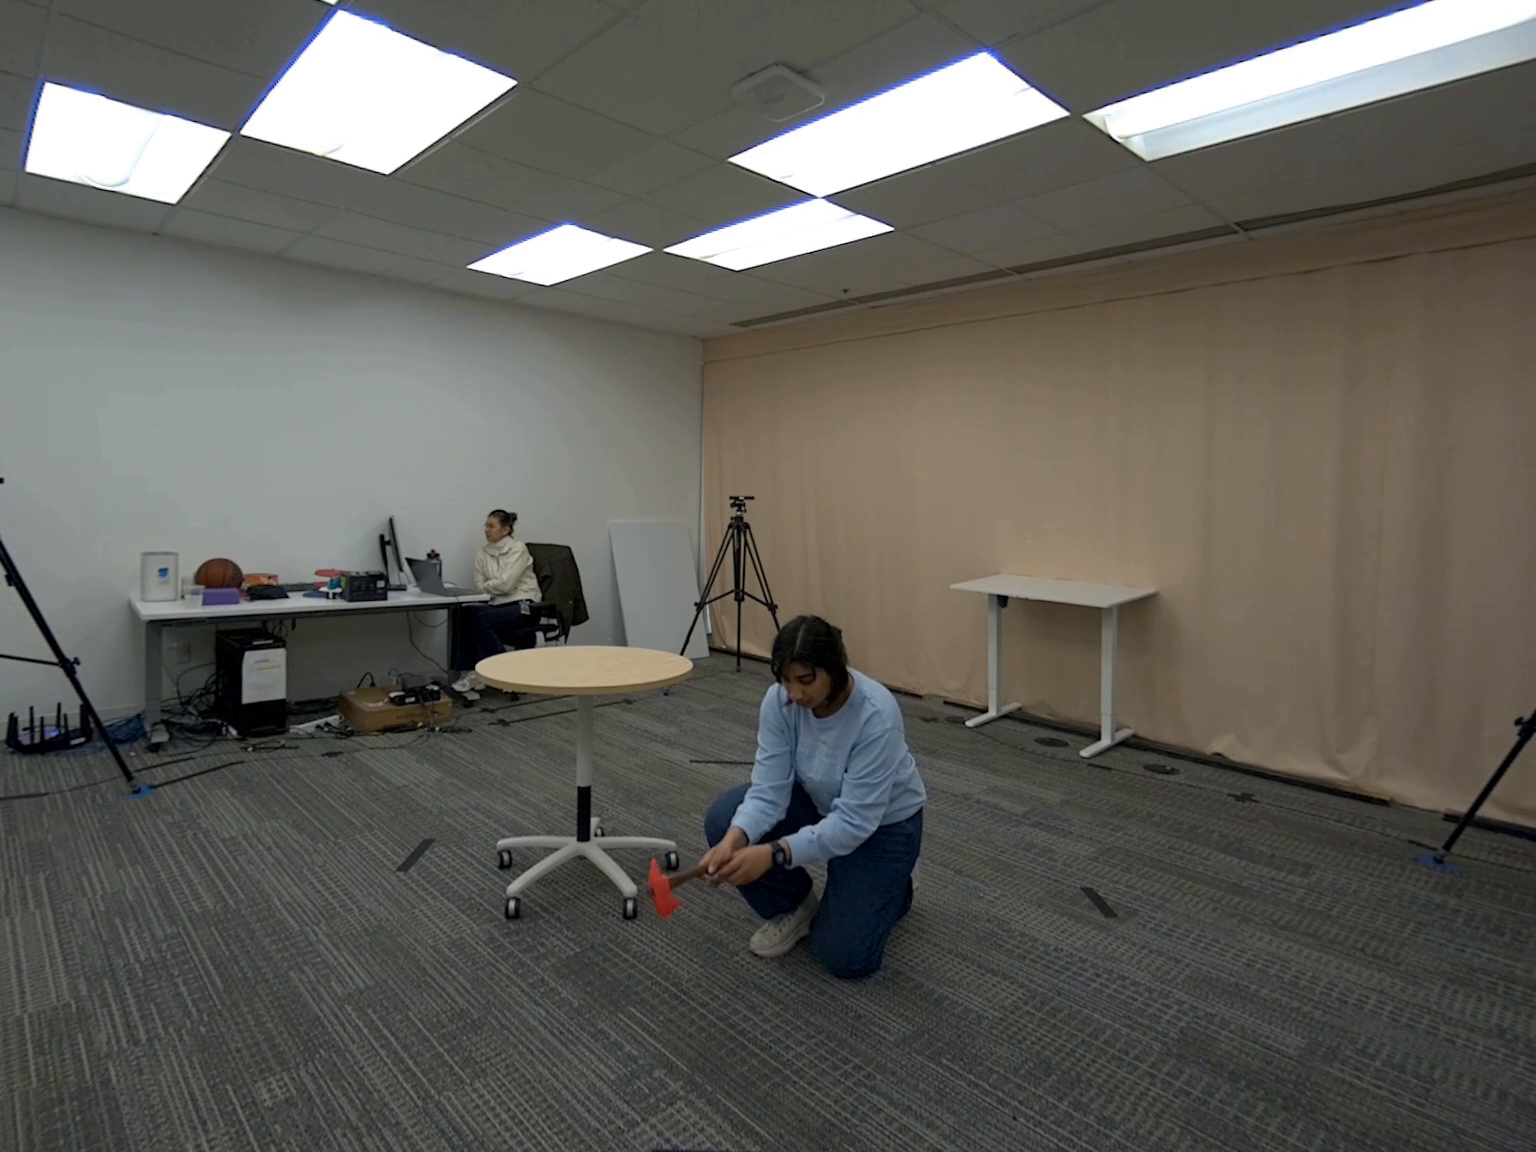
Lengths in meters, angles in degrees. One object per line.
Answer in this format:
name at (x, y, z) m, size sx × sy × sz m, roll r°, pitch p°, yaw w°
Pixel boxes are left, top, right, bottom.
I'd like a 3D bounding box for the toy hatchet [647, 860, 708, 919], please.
toy hatchet at (-0.182, 0.762, 2.046) m, size 0.263 × 0.133 × 0.030 m, roll 15°, pitch -22°, yaw -31°
